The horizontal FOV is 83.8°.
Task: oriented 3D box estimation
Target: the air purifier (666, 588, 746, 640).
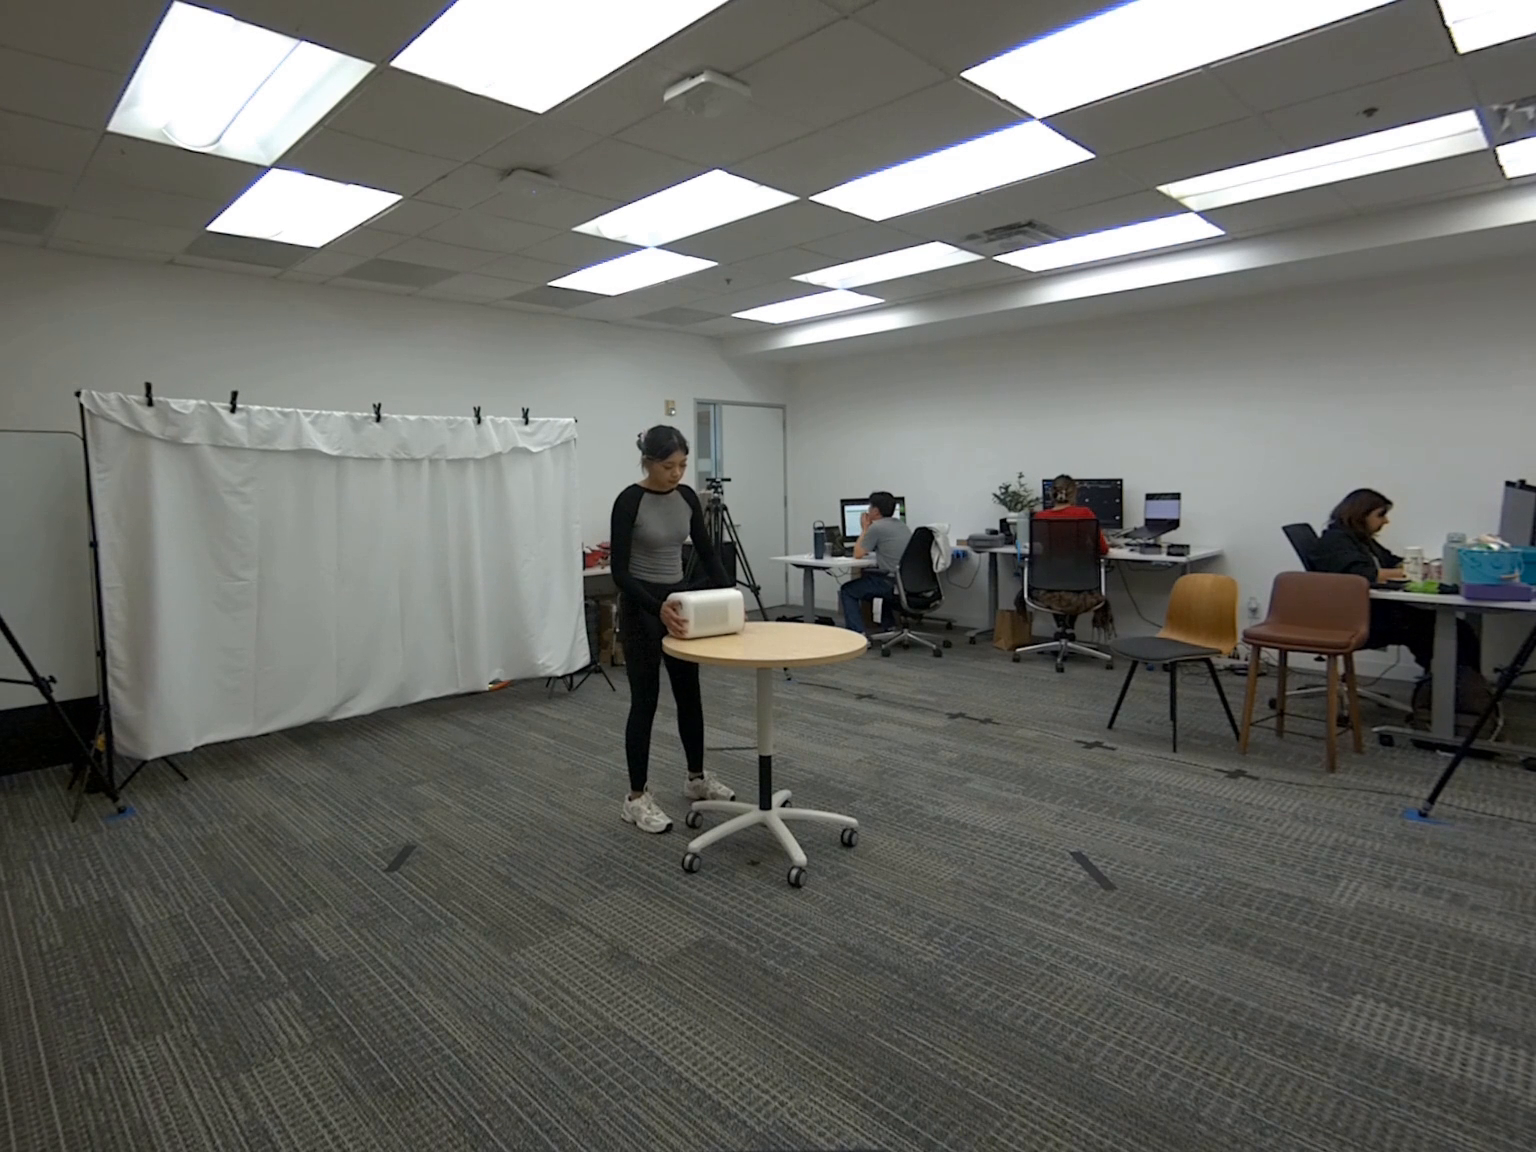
[{"bbox_3d":[-0.250,0.140,3.295,0.259,0.171,0.176,-4,5,-33],"label":"air purifier"}]
